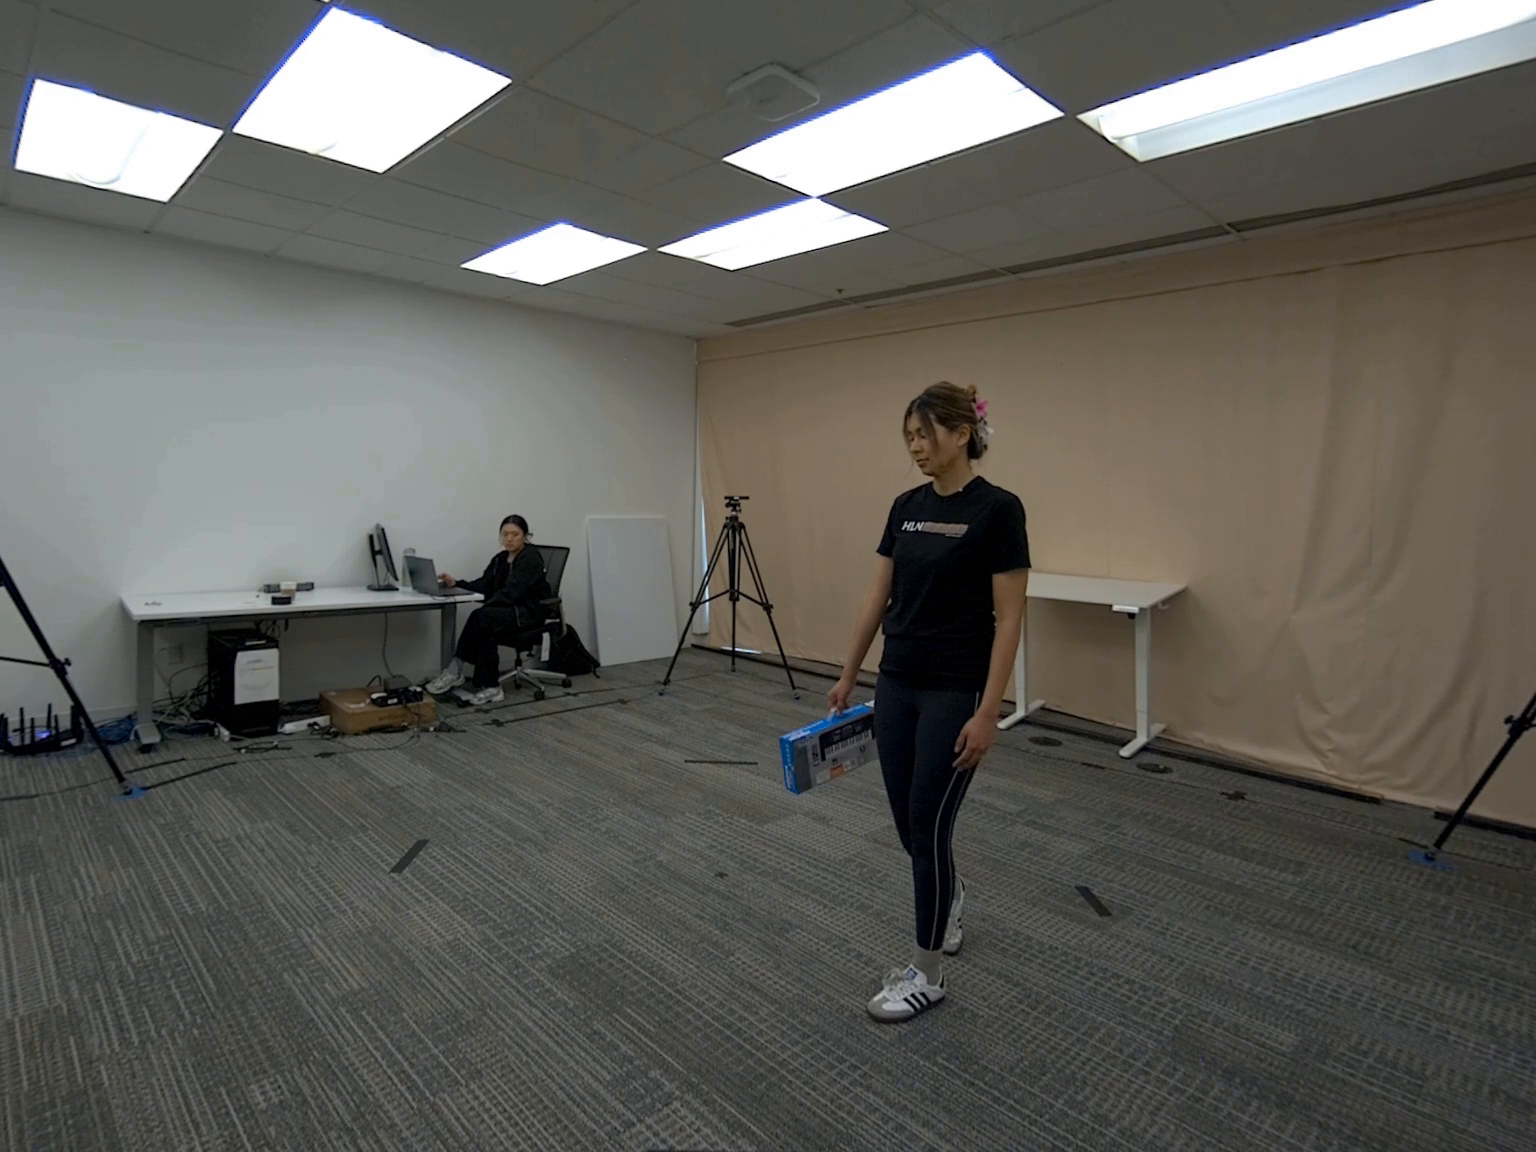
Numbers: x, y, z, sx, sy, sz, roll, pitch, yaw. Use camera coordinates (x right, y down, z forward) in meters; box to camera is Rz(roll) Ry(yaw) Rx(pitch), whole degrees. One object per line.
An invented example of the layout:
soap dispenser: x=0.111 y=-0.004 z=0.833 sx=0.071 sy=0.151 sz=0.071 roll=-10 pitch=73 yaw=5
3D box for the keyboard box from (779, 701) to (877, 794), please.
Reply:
keyboard box: x=0.231 y=0.527 z=2.627 sx=0.430 sy=0.174 sz=0.060 roll=-15 pitch=11 yaw=-32
